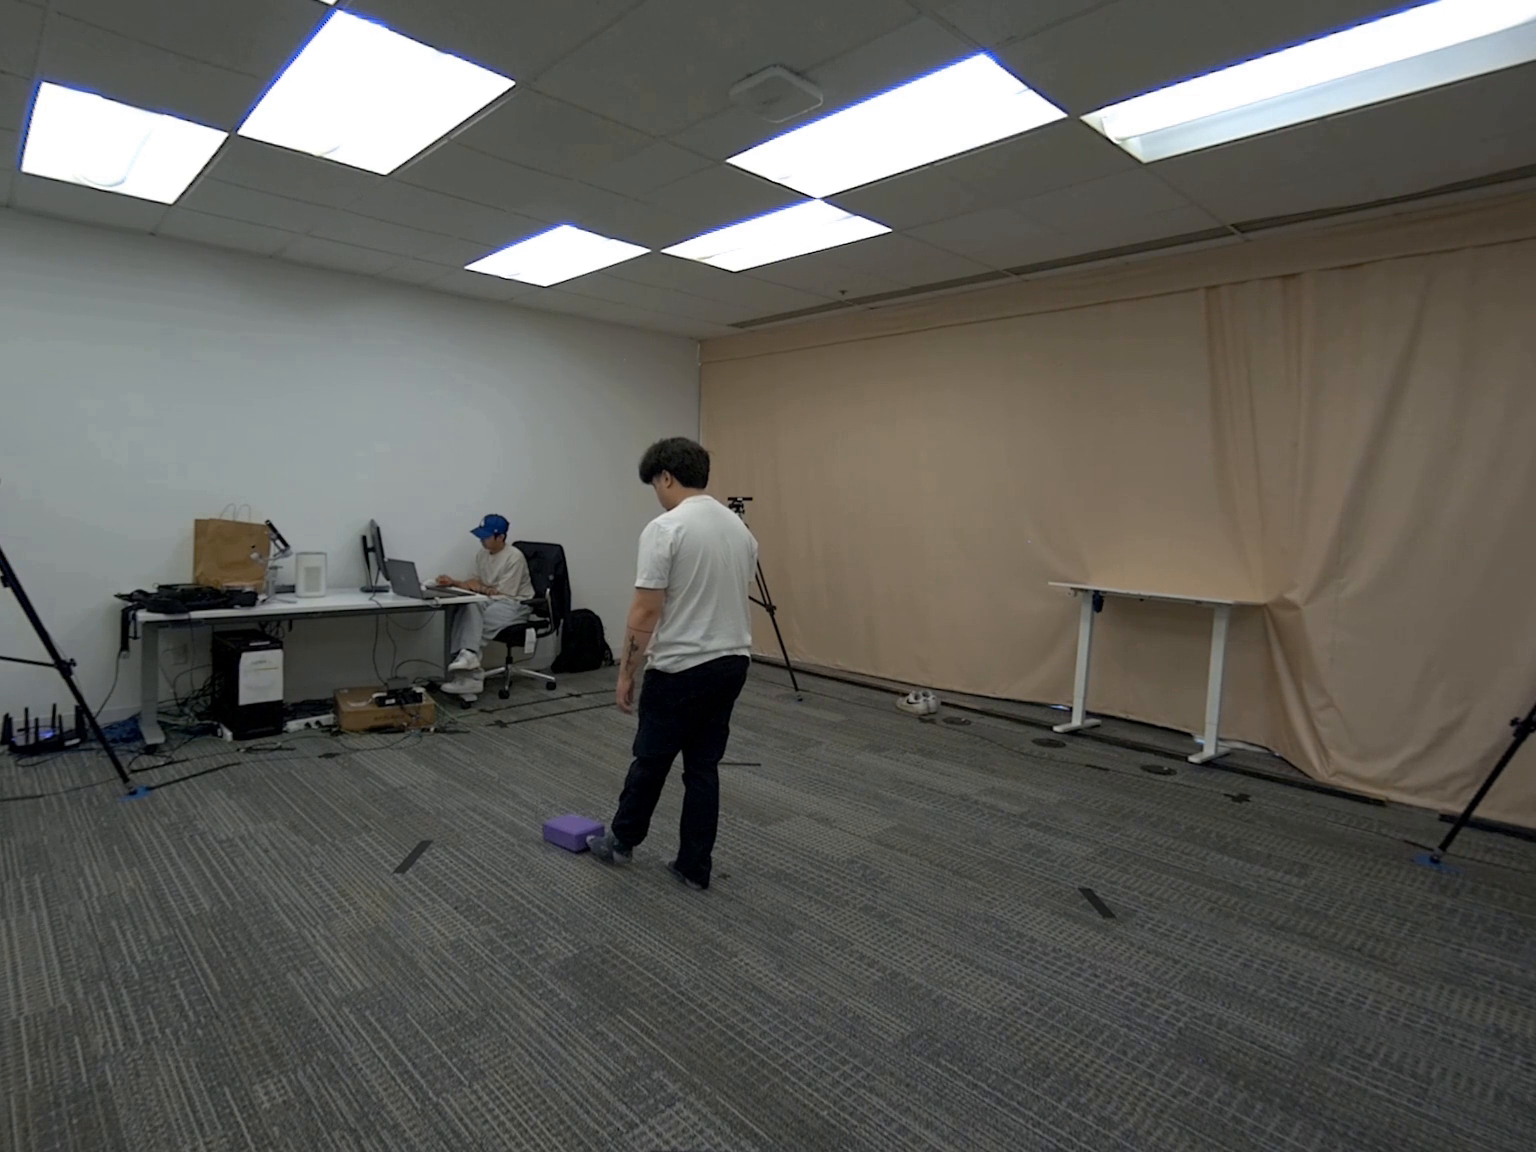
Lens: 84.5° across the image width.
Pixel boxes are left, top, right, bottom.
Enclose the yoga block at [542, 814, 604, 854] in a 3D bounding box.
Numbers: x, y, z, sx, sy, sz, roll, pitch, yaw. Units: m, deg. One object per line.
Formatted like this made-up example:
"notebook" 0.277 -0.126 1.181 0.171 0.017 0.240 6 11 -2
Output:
"yoga block" -0.782 1.027 3.366 0.235 0.076 0.146 2 5 41
